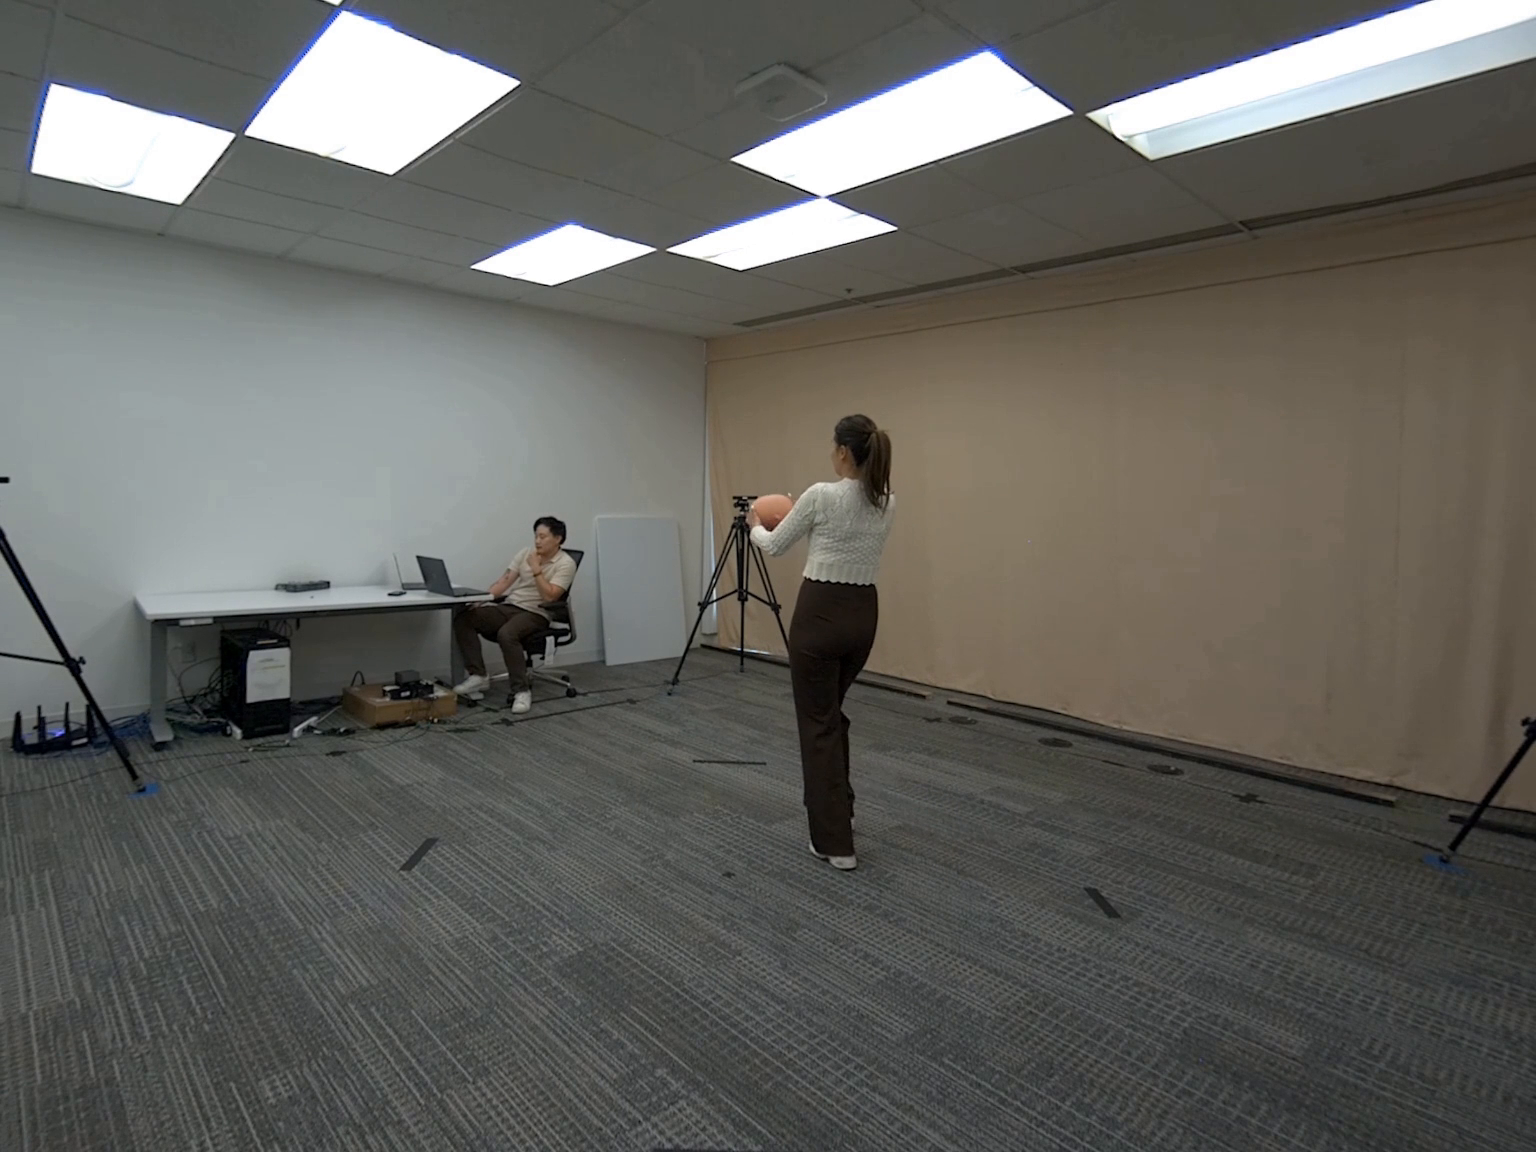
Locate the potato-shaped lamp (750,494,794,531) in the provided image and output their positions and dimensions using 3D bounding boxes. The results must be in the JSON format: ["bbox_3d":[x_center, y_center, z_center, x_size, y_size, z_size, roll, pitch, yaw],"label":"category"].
[{"bbox_3d":[0.005,-0.268,3.680,0.196,0.175,0.163,-16,-22,-22],"label":"potato-shaped lamp"}]
